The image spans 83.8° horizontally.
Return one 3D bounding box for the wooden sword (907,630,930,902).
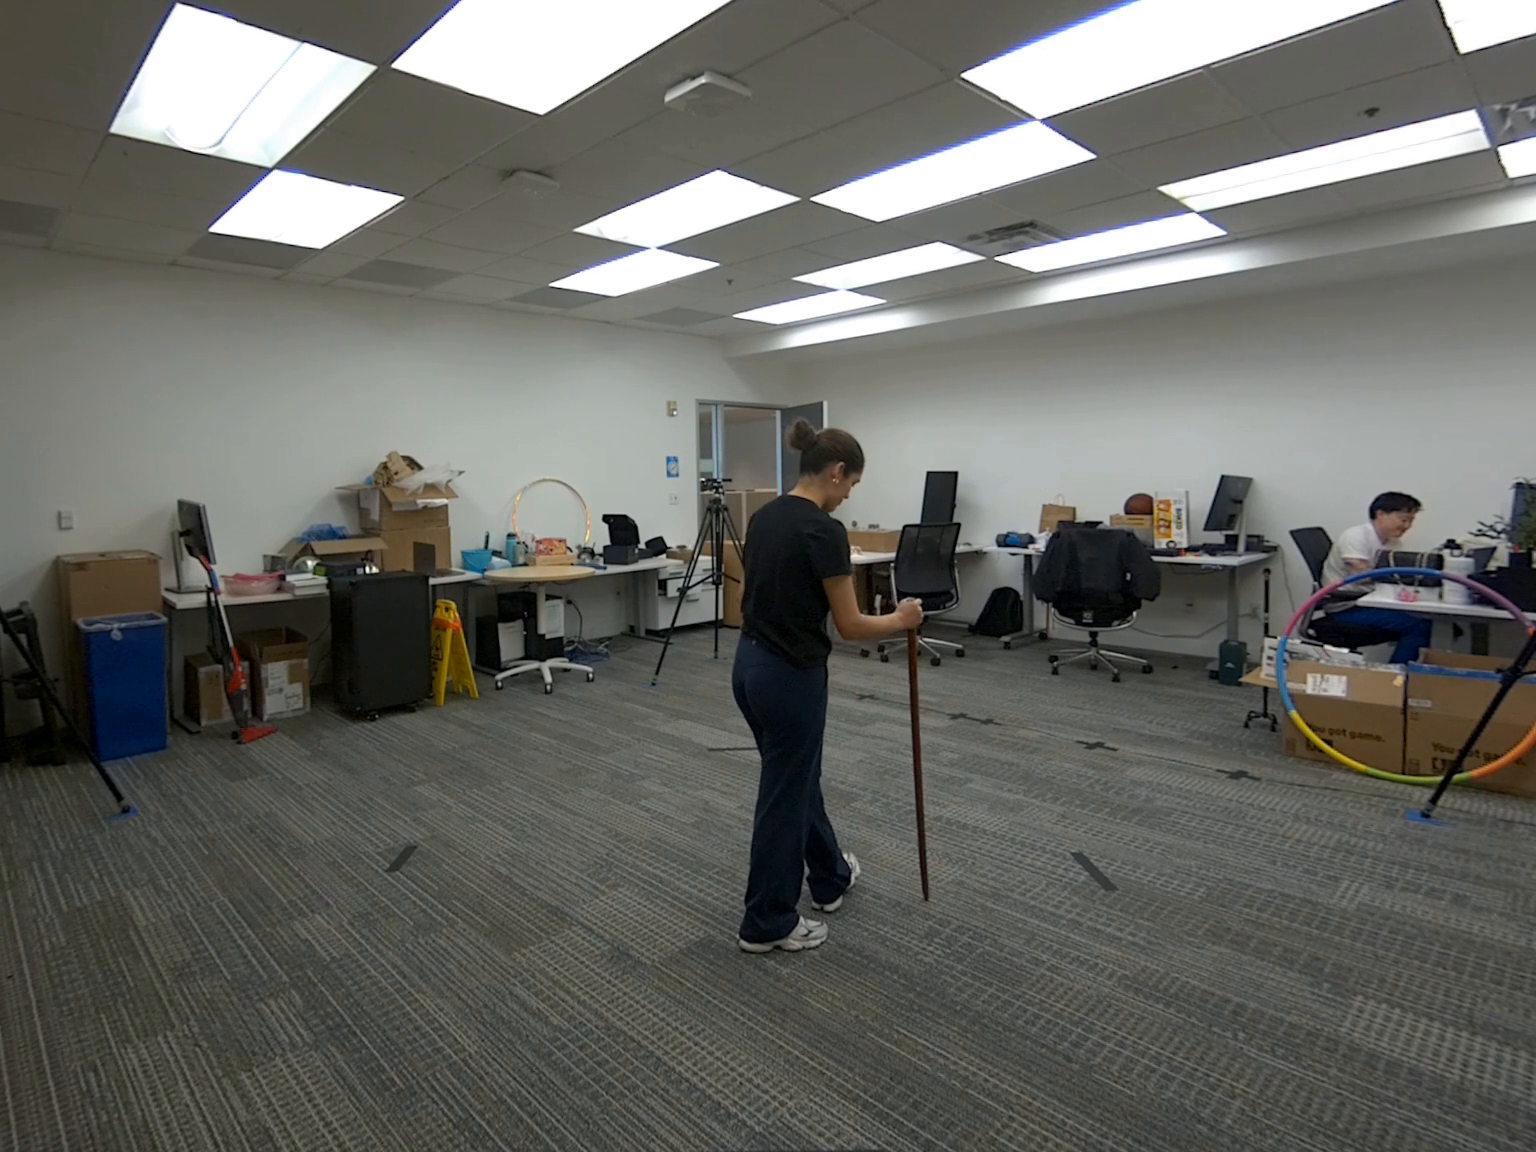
[{"bbox_3d":[0.467,0.568,2.704,0.052,1.013,0.024,-2,12,16],"label":"wooden sword"}]
